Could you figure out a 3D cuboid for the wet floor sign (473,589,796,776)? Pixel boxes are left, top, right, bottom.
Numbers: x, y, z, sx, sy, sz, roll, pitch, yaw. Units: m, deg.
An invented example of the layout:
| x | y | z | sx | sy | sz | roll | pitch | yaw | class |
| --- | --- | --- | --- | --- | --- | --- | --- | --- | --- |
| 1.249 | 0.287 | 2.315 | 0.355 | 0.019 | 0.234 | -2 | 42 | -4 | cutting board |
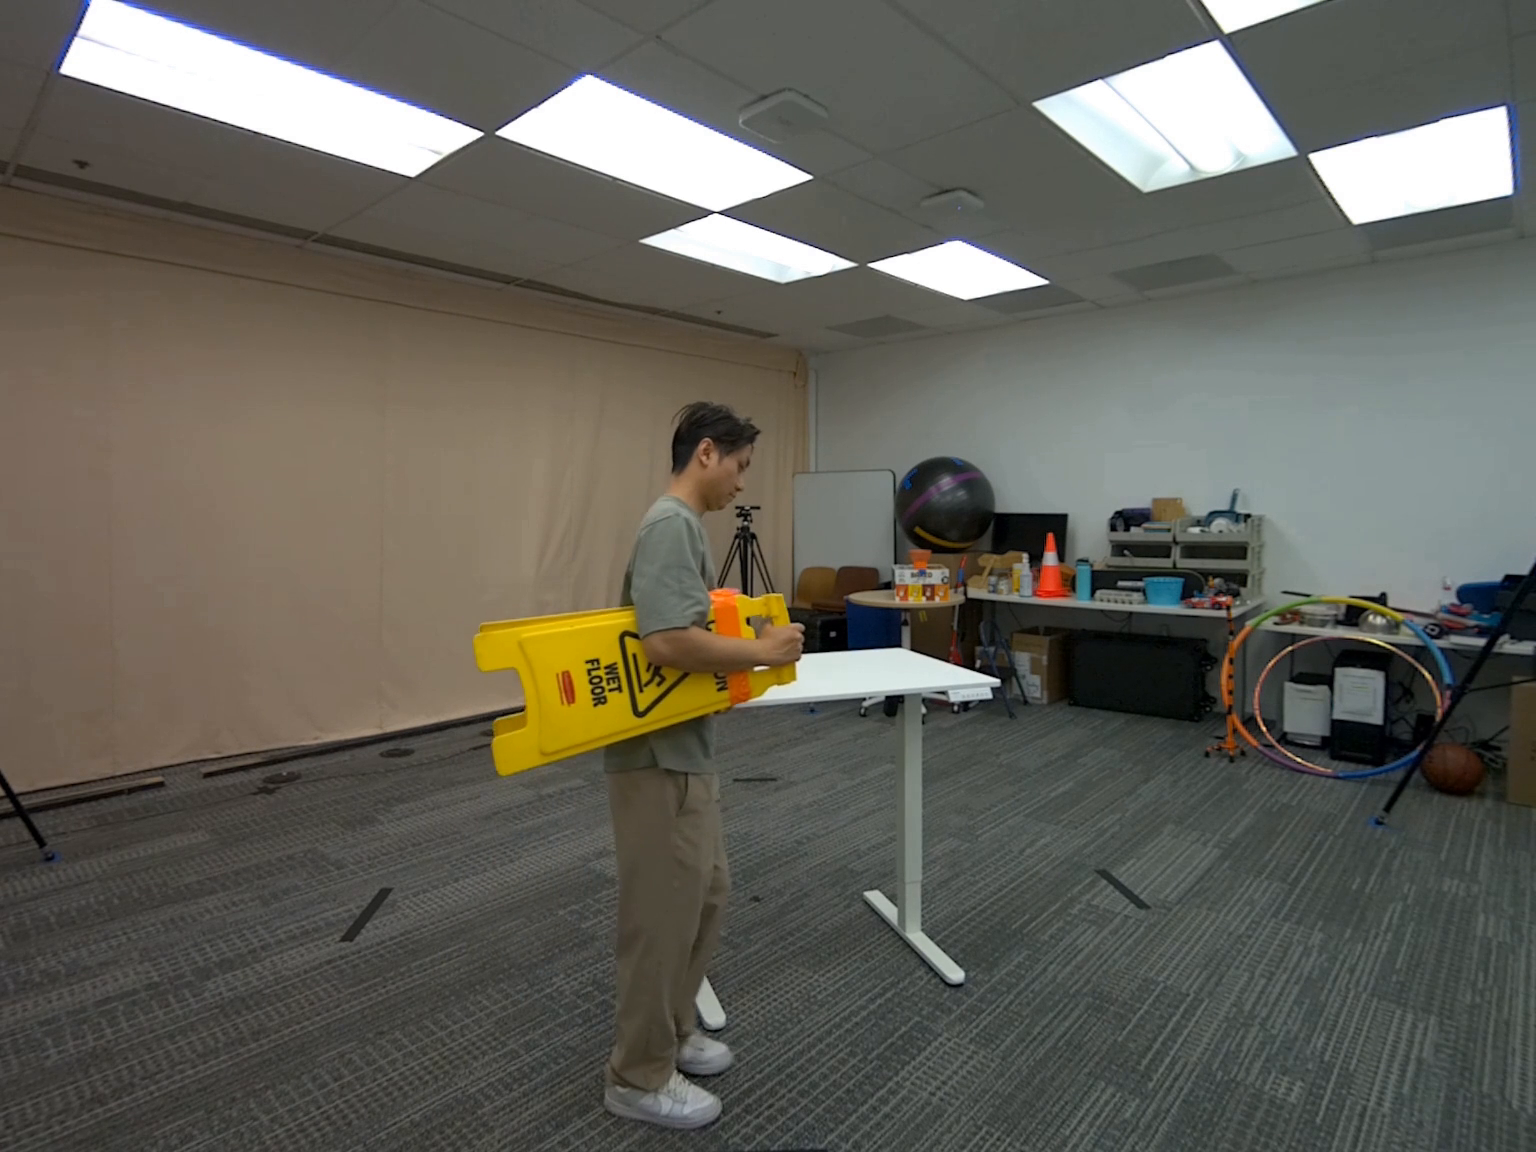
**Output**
| x | y | z | sx | sy | sz | roll | pitch | yaw | class |
| --- | --- | --- | --- | --- | --- | --- | --- | --- | --- |
| -0.268 | 0.203 | 1.774 | 0.638 | 0.282 | 0.294 | -10 | 3 | -13 | wet floor sign |
